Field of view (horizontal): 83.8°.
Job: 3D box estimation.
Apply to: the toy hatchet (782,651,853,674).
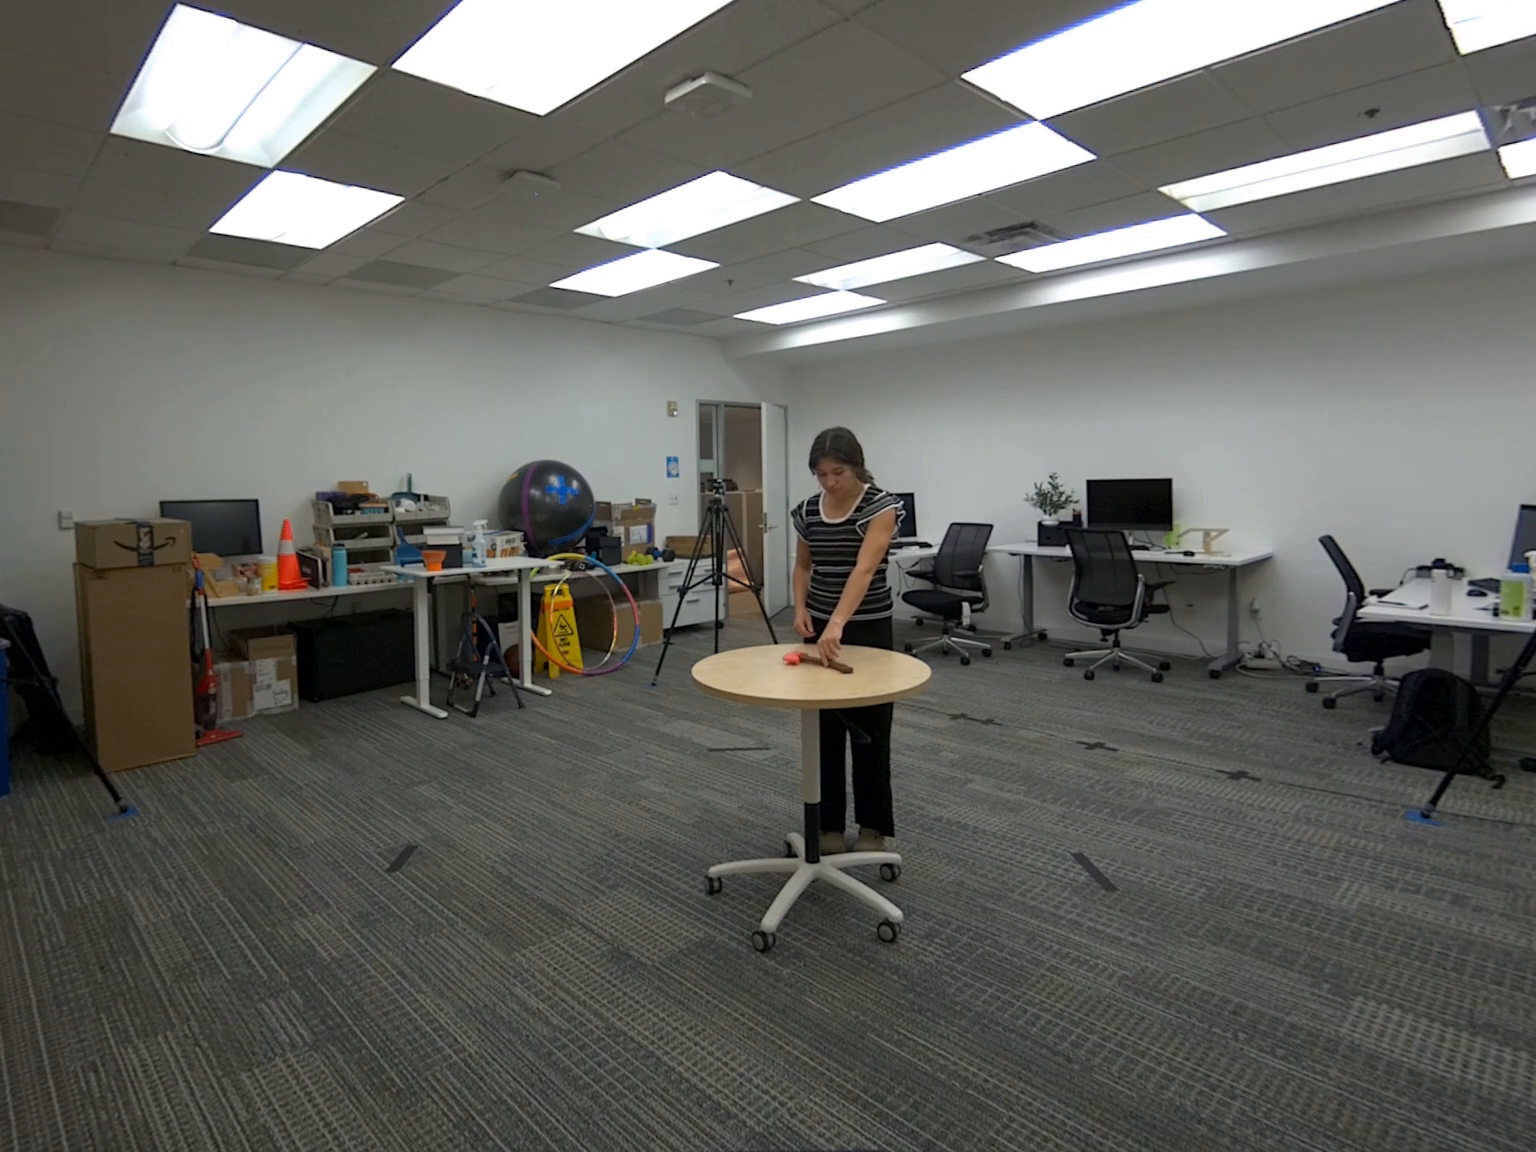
[{"bbox_3d":[0.162,0.284,2.765,0.128,0.029,0.277,1,5,-29],"label":"toy hatchet"}]
